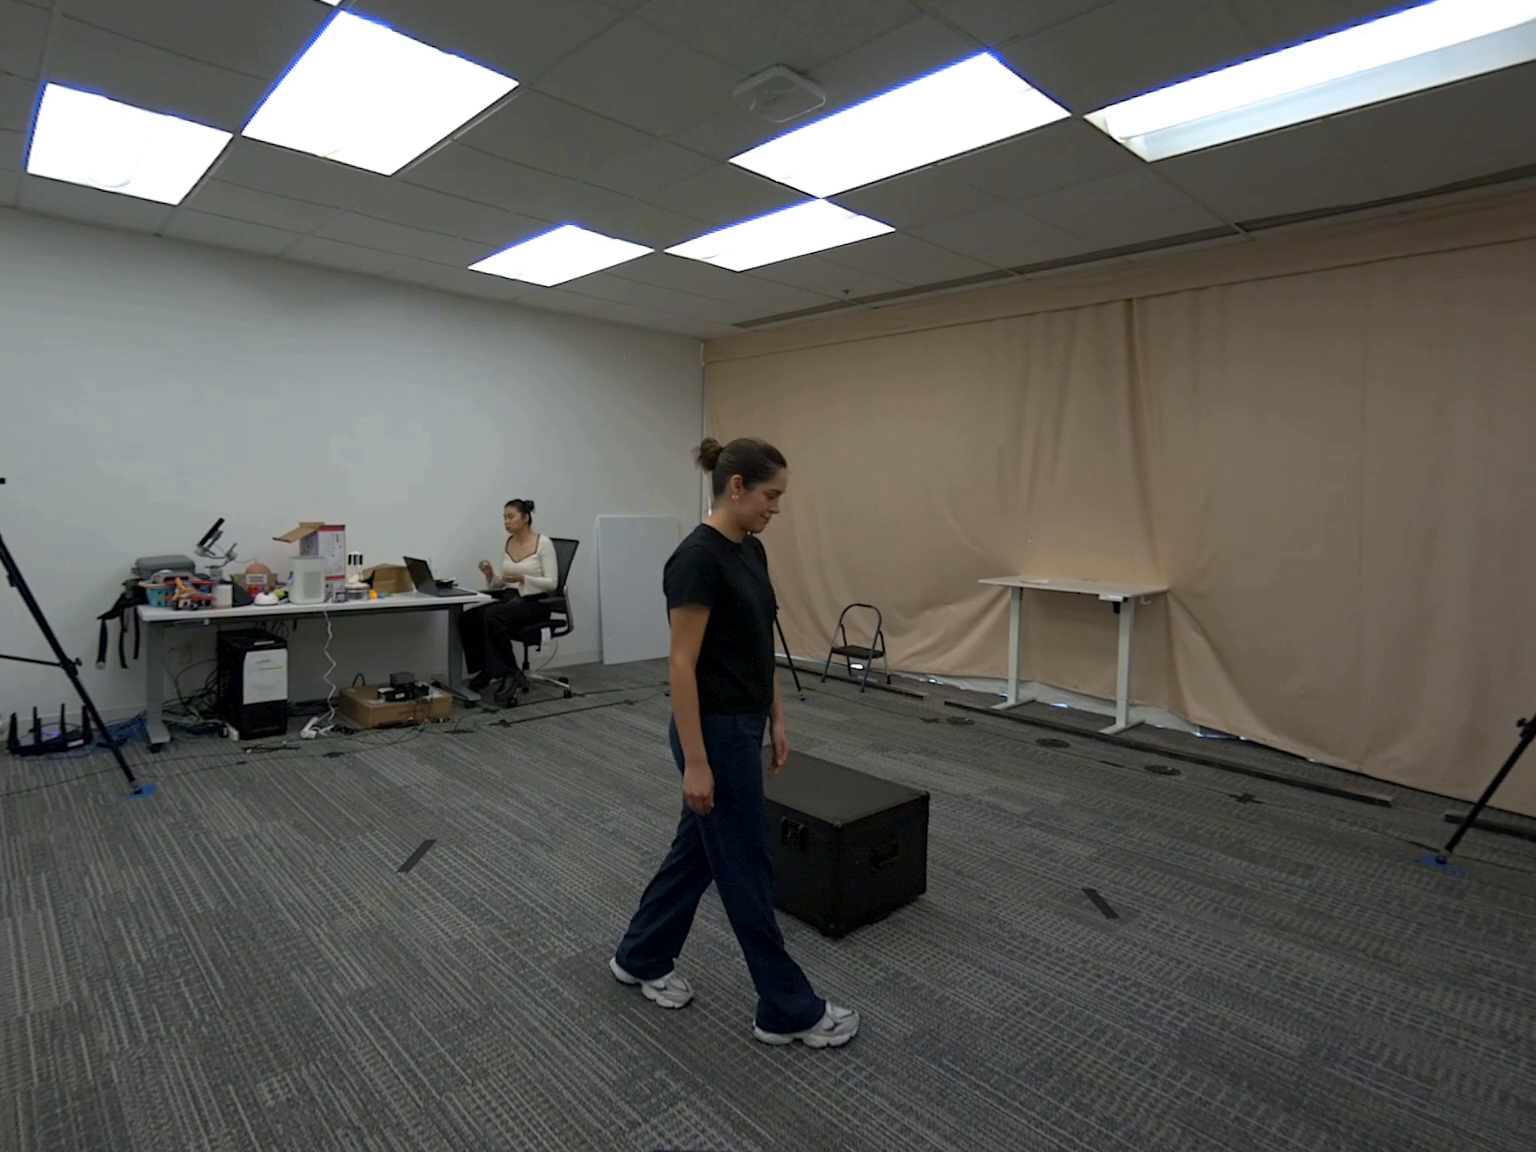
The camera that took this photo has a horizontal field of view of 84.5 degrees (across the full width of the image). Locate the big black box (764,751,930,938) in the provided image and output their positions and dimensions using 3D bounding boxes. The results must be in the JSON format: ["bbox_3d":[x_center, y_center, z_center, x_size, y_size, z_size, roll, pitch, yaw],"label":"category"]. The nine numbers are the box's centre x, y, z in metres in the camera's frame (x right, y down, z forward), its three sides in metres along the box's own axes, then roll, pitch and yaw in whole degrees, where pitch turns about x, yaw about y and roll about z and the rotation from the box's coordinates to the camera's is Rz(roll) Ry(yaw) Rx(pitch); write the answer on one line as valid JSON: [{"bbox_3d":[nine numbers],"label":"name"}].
[{"bbox_3d":[0.094,0.922,3.087,0.509,0.395,0.884,-3,7,-44],"label":"big black box"}]
